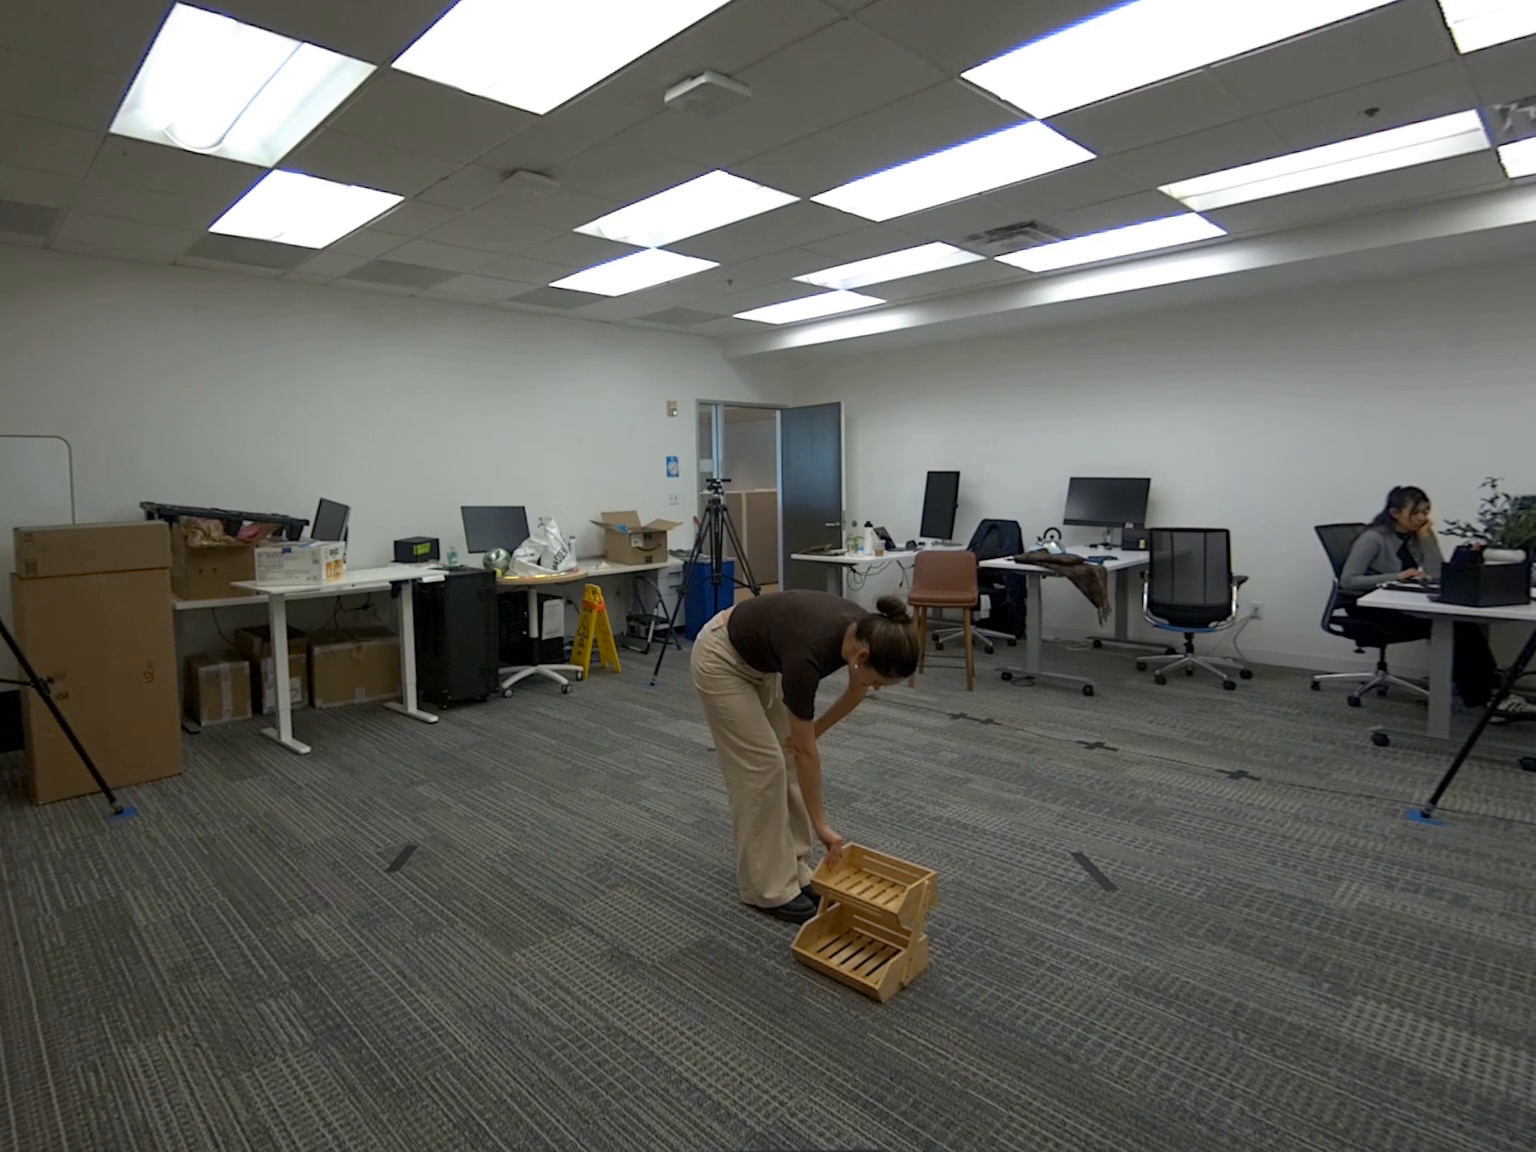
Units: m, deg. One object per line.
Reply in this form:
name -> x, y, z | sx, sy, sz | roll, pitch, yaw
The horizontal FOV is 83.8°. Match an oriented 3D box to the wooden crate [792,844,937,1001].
wooden crate -> 0.280, 0.980, 2.456 | 0.334, 0.272, 0.294 | 4, 6, 43
